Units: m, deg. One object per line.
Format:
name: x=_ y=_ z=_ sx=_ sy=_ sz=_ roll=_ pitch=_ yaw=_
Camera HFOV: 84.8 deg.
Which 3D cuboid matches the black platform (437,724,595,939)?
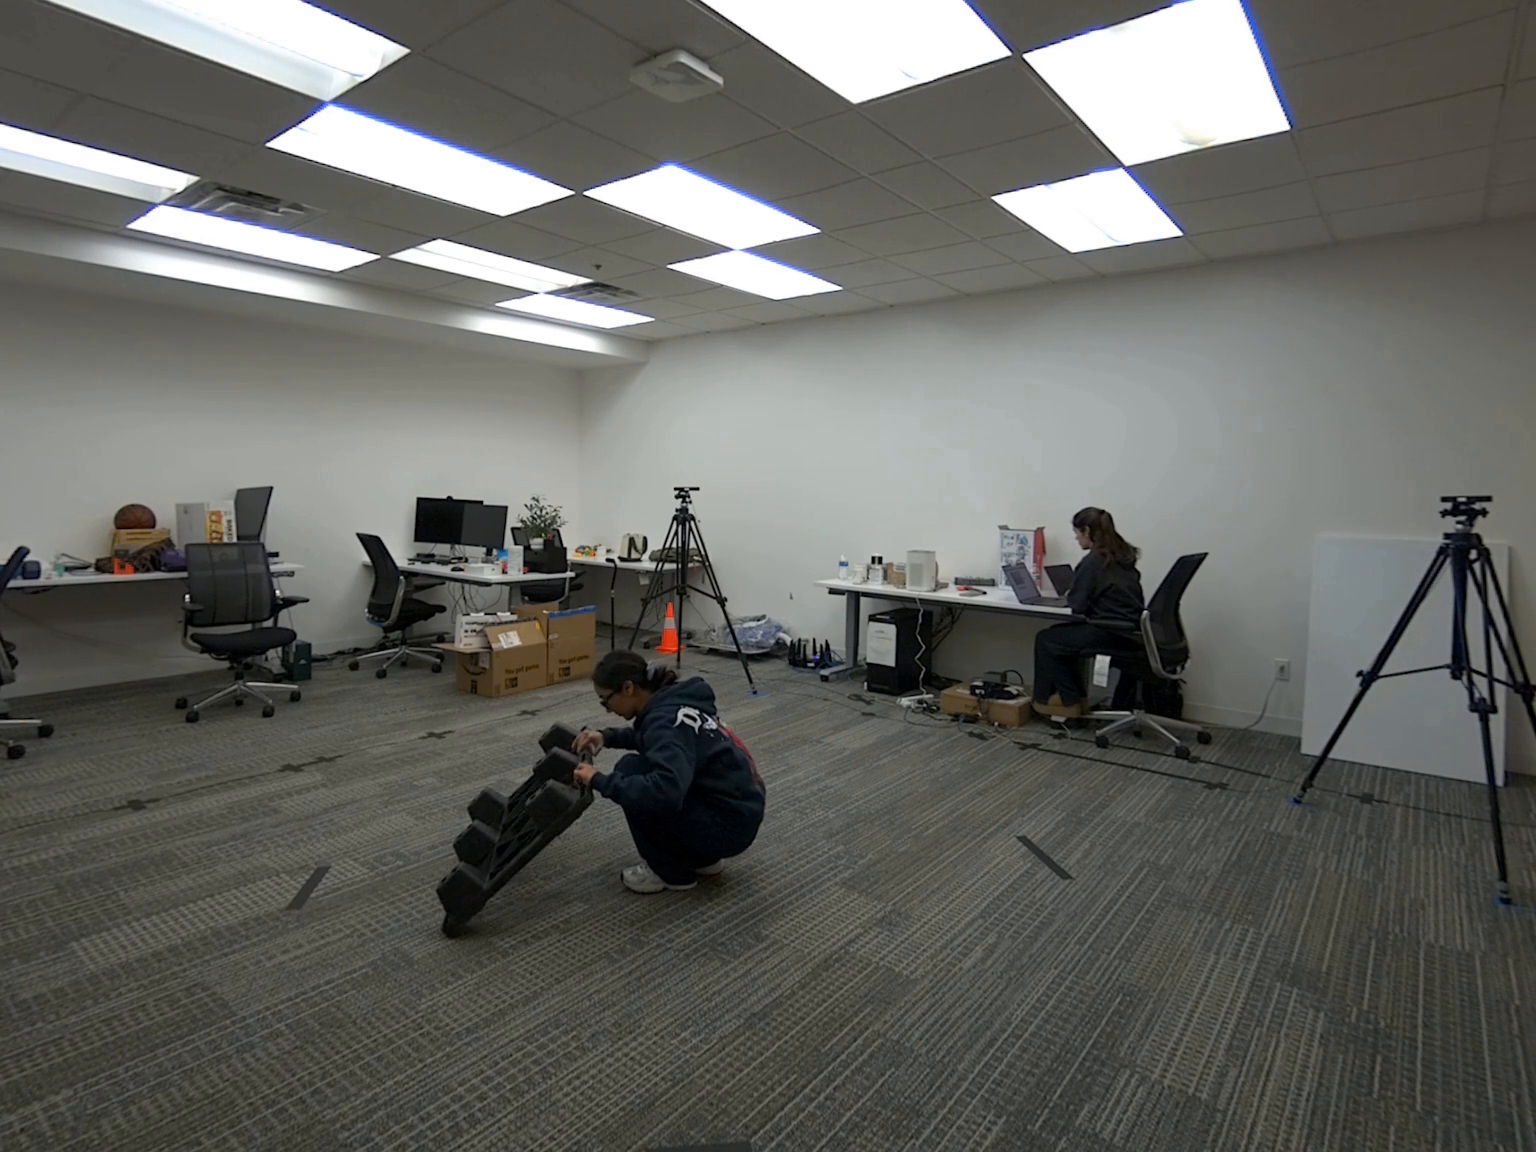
black platform: x=-0.890 y=0.819 z=3.003 sx=0.604 sy=0.141 sz=0.817 roll=-43 pitch=12 yaw=-6
